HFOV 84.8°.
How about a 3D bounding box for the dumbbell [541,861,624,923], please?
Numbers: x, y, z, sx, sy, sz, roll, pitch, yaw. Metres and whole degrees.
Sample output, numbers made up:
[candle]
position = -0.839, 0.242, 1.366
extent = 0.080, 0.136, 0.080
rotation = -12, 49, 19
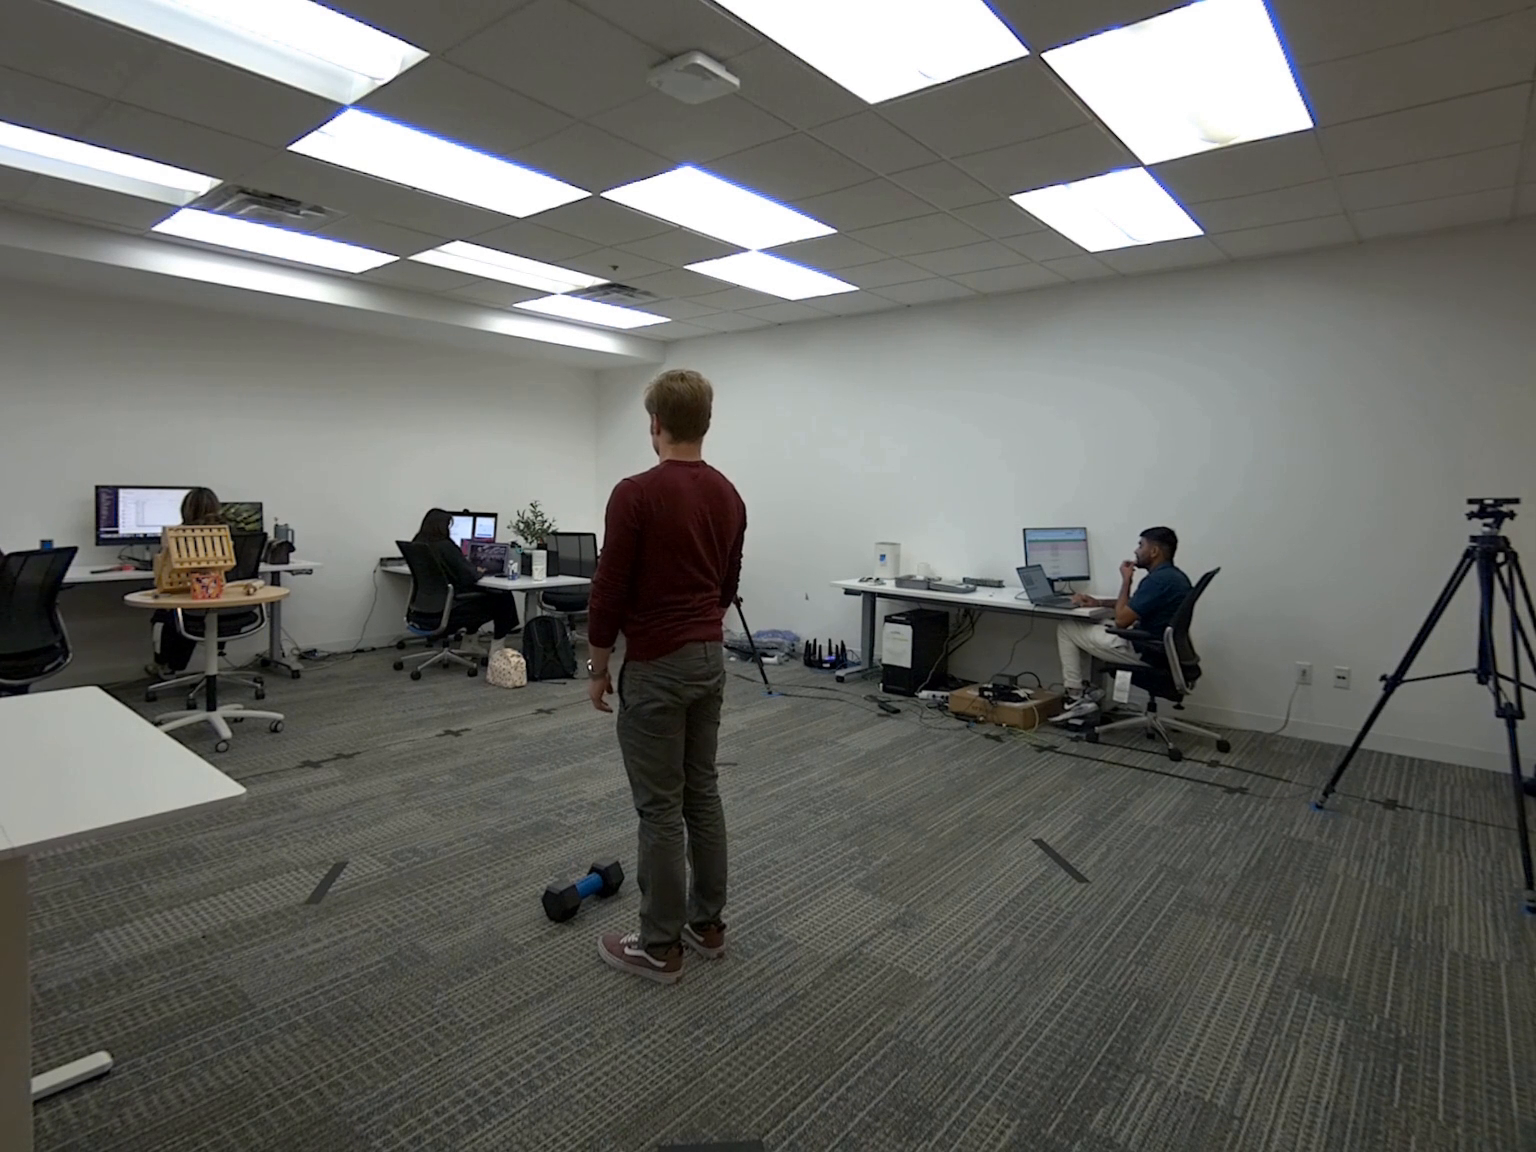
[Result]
[dumbbell]
position = -0.618, 1.032, 2.821
extent = 0.112, 0.122, 0.286
rotation = 36, 22, 25
